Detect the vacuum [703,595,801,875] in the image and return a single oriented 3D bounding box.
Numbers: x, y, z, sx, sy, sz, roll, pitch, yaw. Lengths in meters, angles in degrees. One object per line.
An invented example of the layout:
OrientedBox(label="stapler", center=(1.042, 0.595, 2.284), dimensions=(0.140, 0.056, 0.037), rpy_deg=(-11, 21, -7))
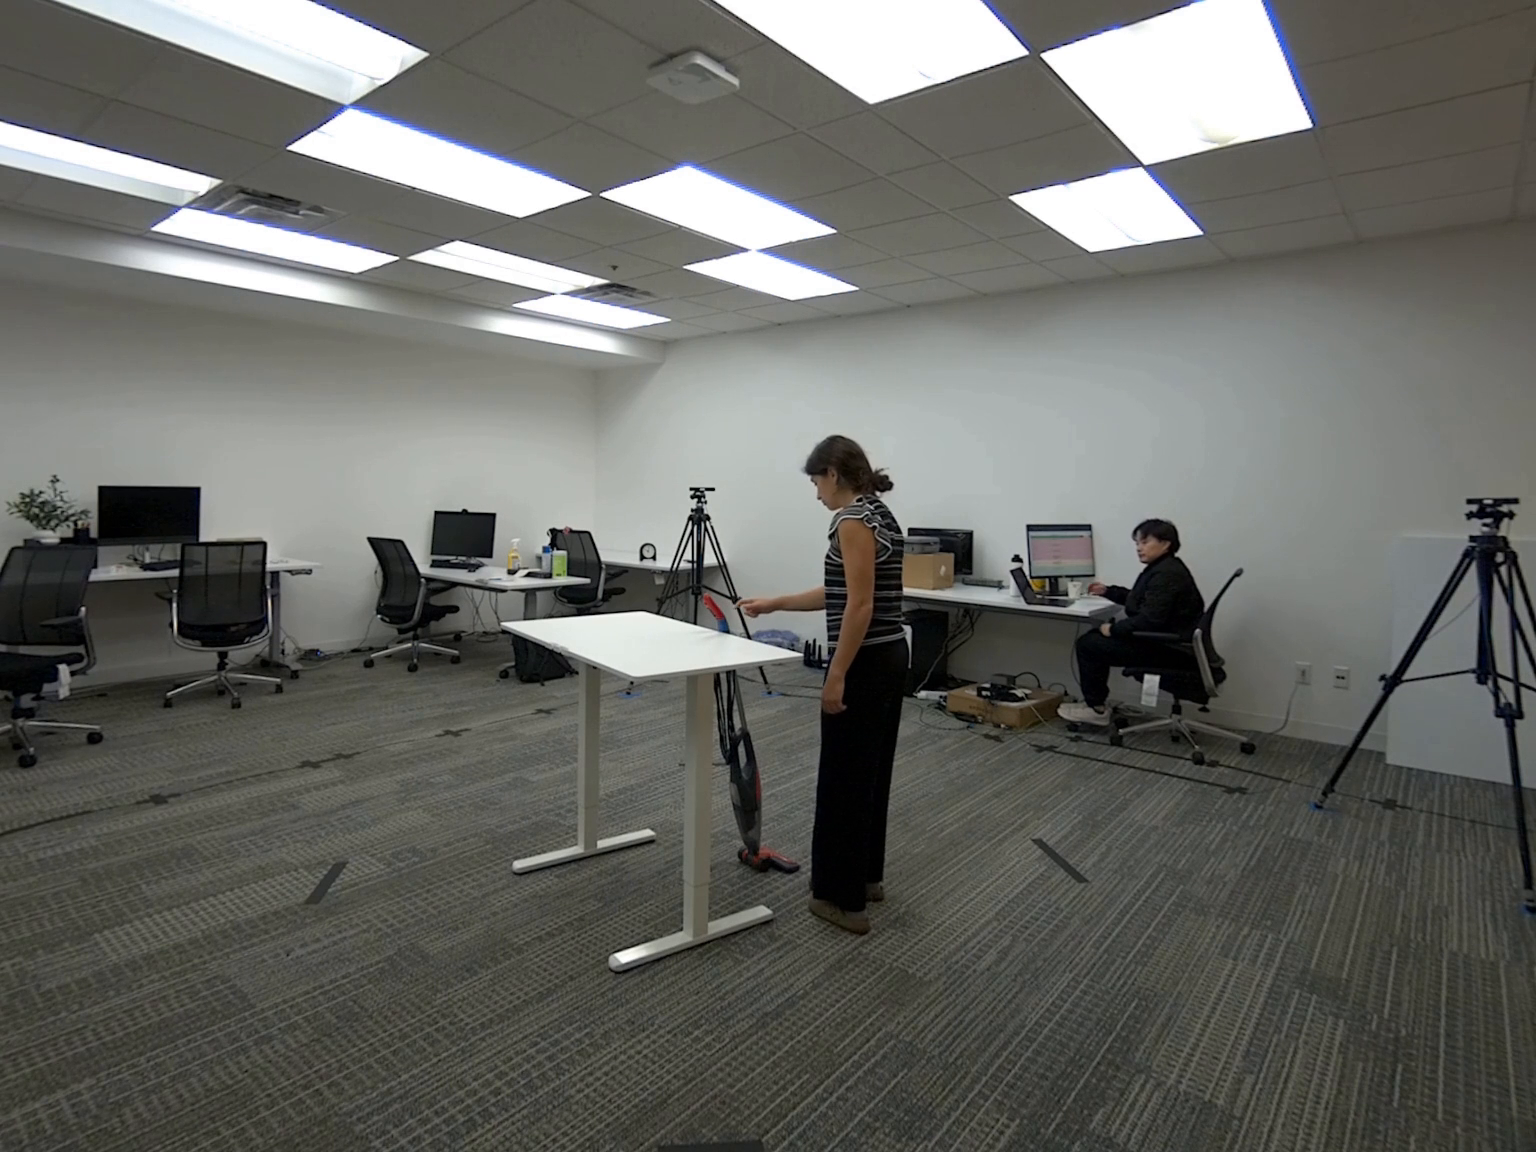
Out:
OrientedBox(label="vacuum", center=(-0.123, 0.575, 3.060), dimensions=(0.141, 1.035, 0.261), rpy_deg=(-21, 15, -36))
